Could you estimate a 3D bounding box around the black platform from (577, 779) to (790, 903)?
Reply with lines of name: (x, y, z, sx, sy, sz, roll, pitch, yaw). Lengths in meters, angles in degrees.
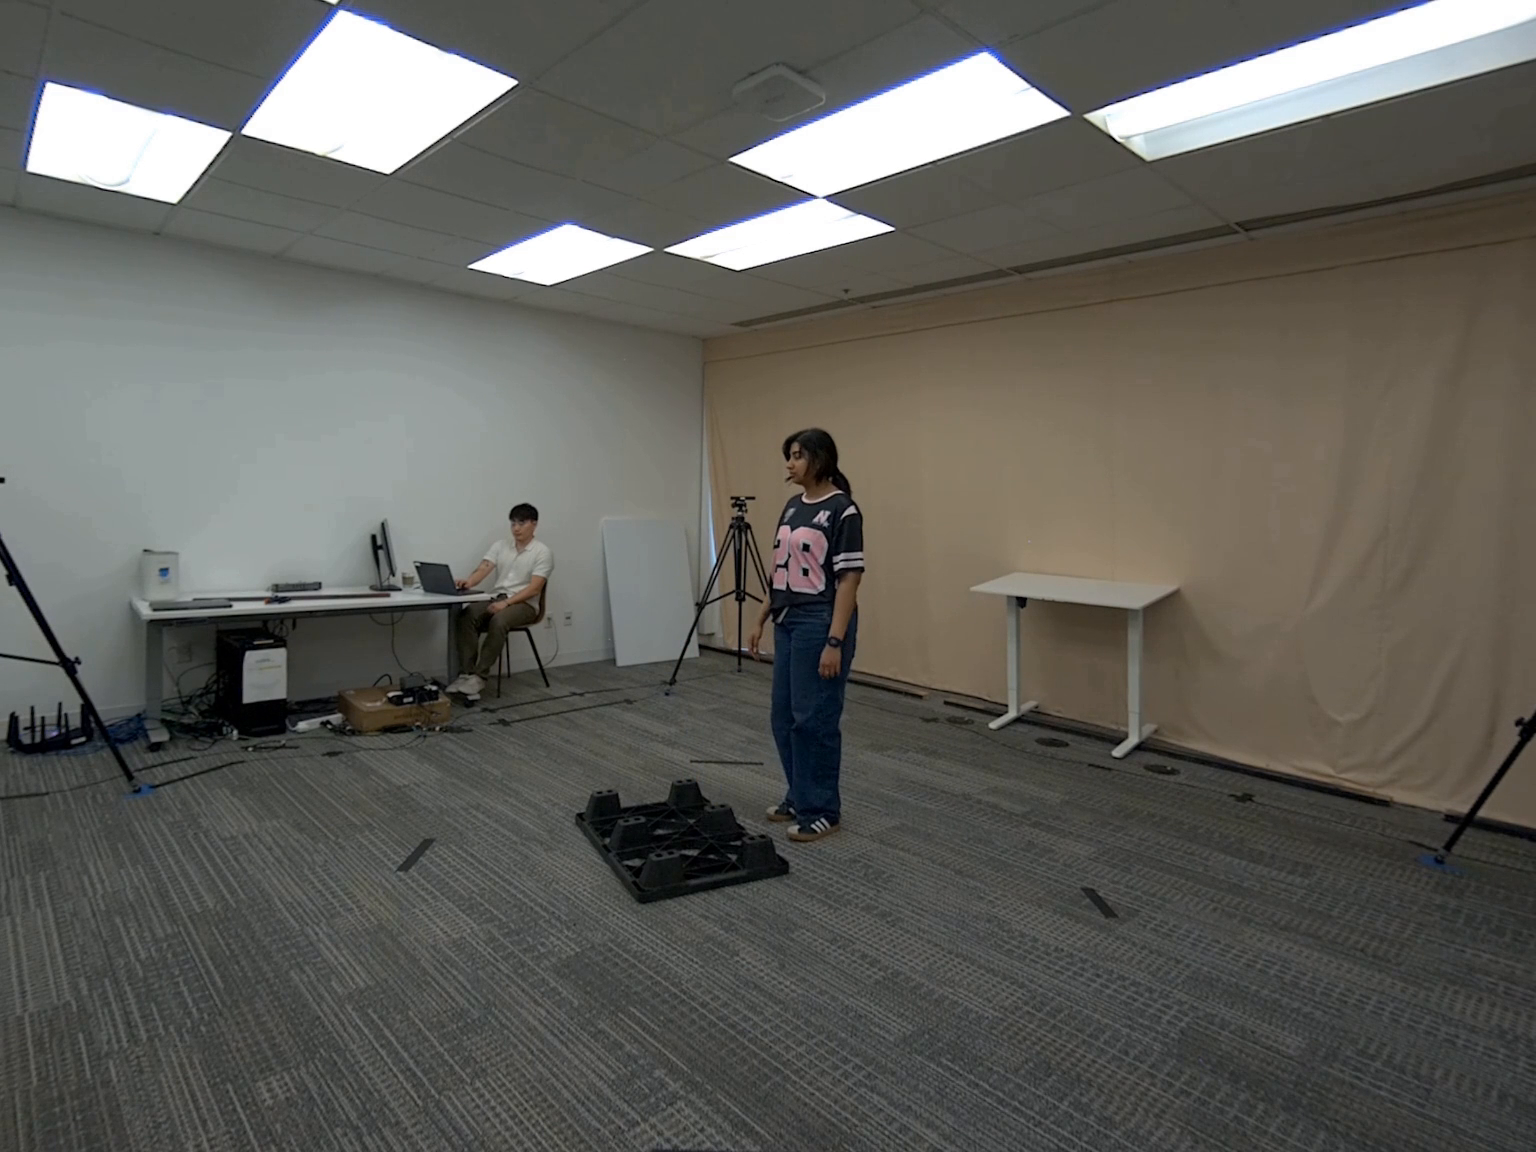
black platform: (-0.368, 1.013, 3.341, 0.593, 0.143, 0.823, -2, 6, -28)
